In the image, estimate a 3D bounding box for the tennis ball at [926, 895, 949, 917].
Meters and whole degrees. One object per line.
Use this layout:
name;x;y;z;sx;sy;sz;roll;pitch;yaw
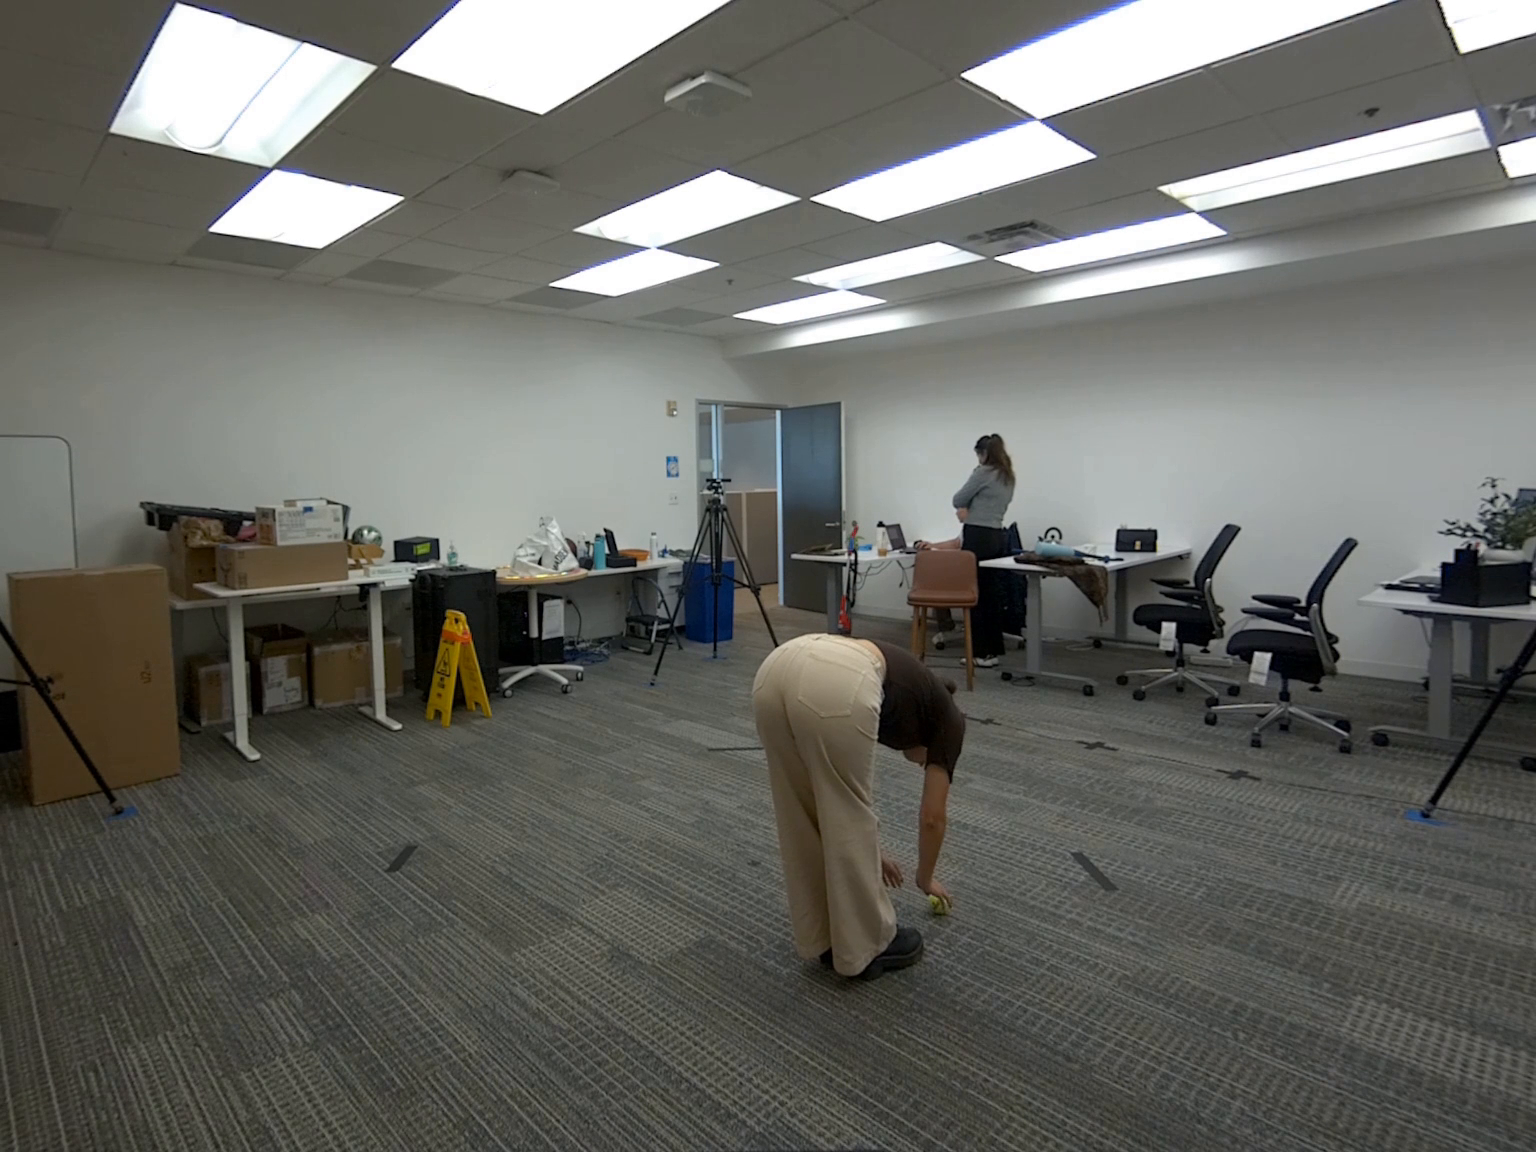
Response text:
tennis ball;0.547;1.035;2.726;0.066;0.066;0.067;-1;5;-2
